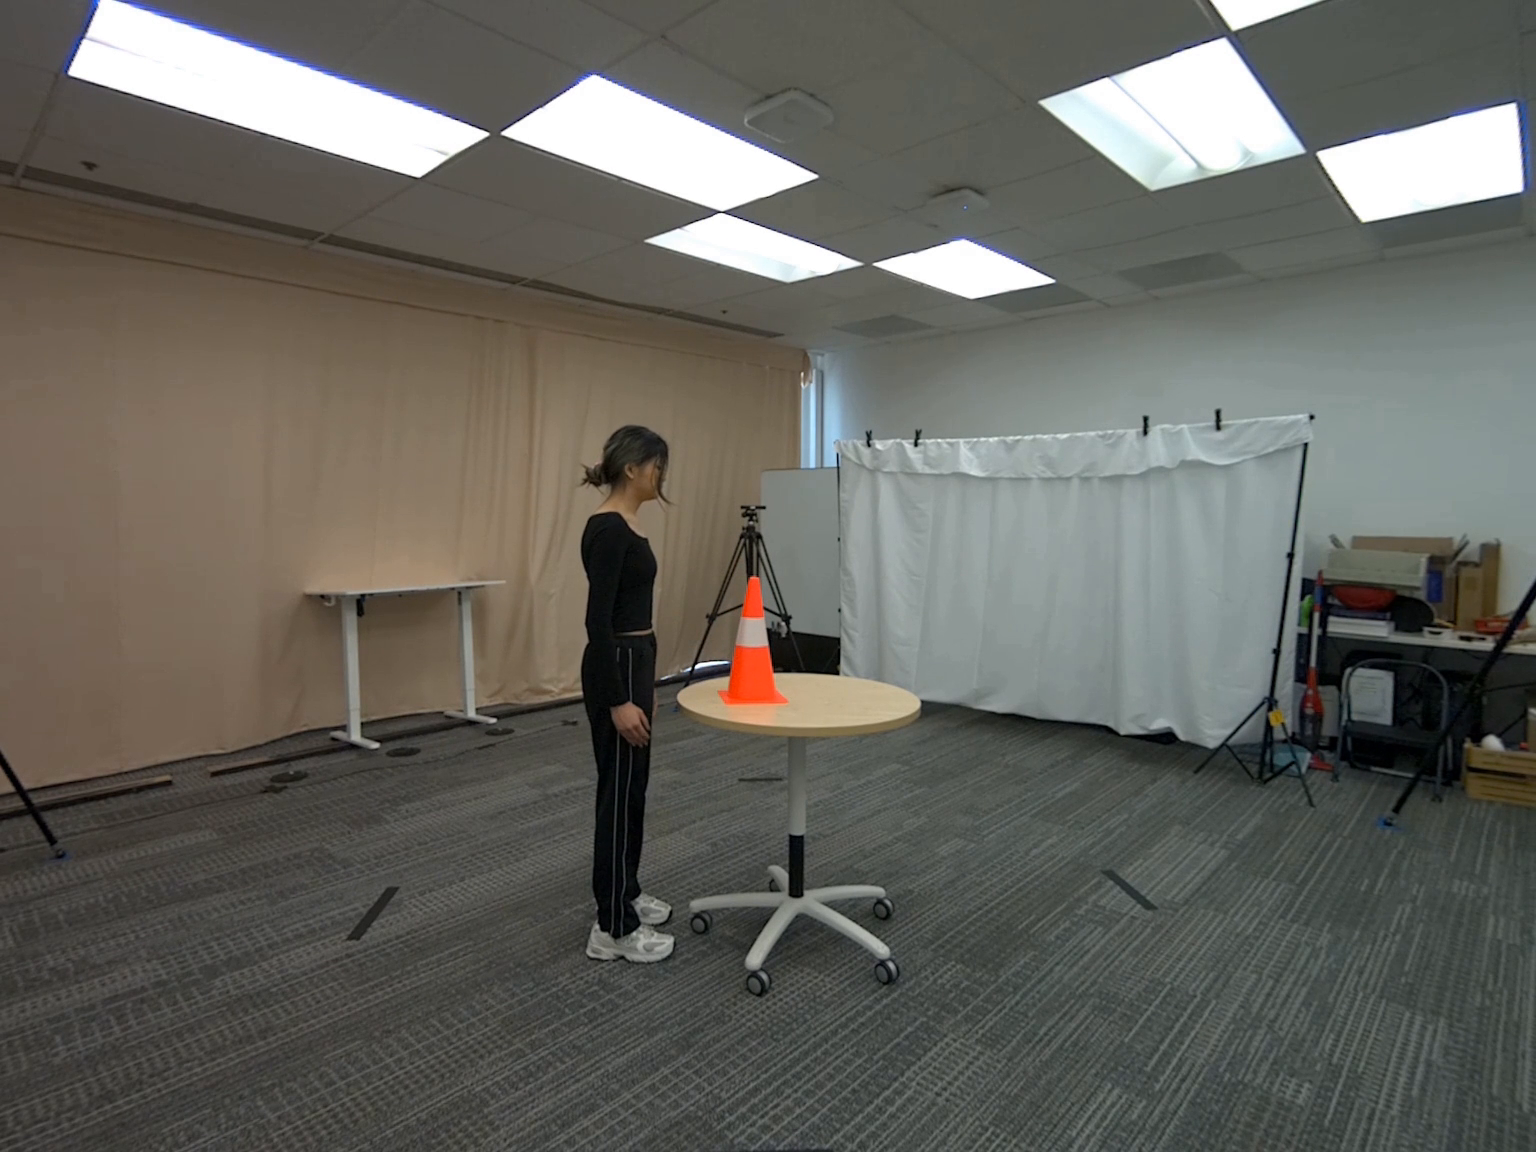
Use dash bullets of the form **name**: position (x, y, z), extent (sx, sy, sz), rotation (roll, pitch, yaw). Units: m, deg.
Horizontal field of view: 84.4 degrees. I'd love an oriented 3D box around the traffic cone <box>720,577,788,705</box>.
- **traffic cone**: position (-0.048, 0.200, 2.654), extent (0.201, 0.383, 0.207), rotation (-1, 4, -10)
